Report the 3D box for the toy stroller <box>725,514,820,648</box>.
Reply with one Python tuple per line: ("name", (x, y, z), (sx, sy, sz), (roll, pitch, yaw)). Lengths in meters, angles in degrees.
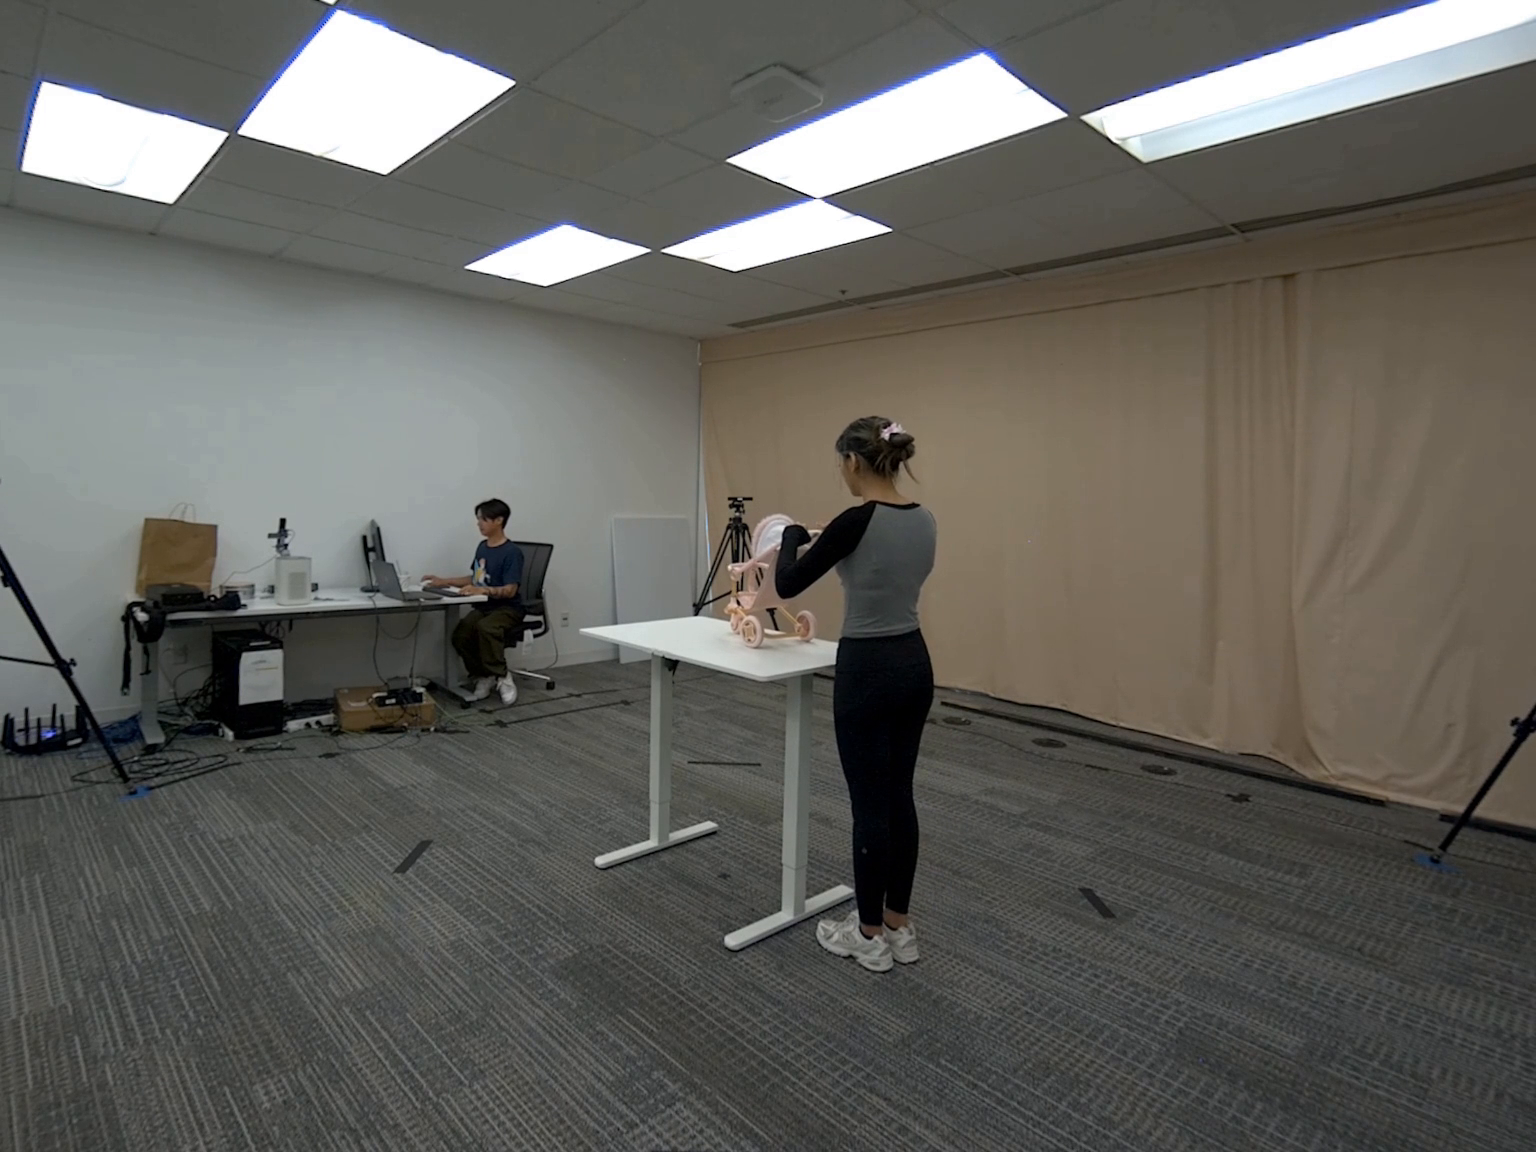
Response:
("toy stroller", (0.008, 0.016, 2.987), (0.275, 0.529, 0.352), (-1, 22, -34))
